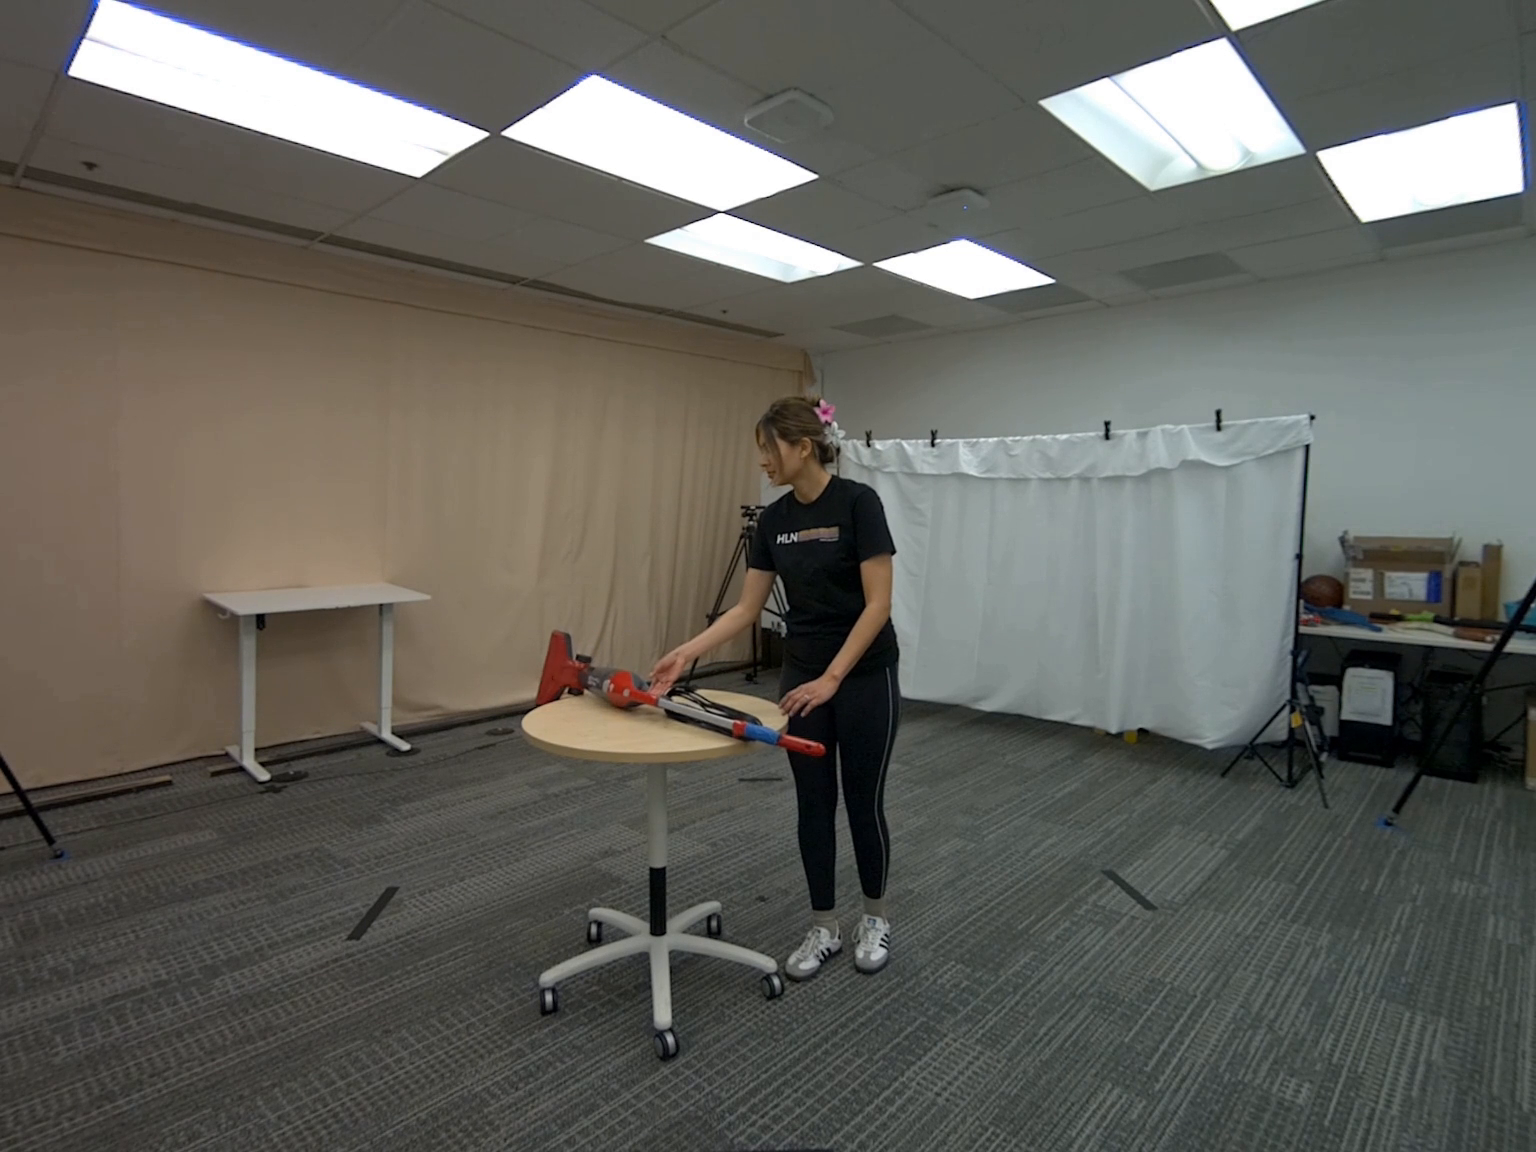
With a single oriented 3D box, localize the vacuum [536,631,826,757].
[{"bbox_3d":[-0.286,0.377,2.369,1.086,0.253,0.139,10,-14,45],"label":"vacuum"}]
